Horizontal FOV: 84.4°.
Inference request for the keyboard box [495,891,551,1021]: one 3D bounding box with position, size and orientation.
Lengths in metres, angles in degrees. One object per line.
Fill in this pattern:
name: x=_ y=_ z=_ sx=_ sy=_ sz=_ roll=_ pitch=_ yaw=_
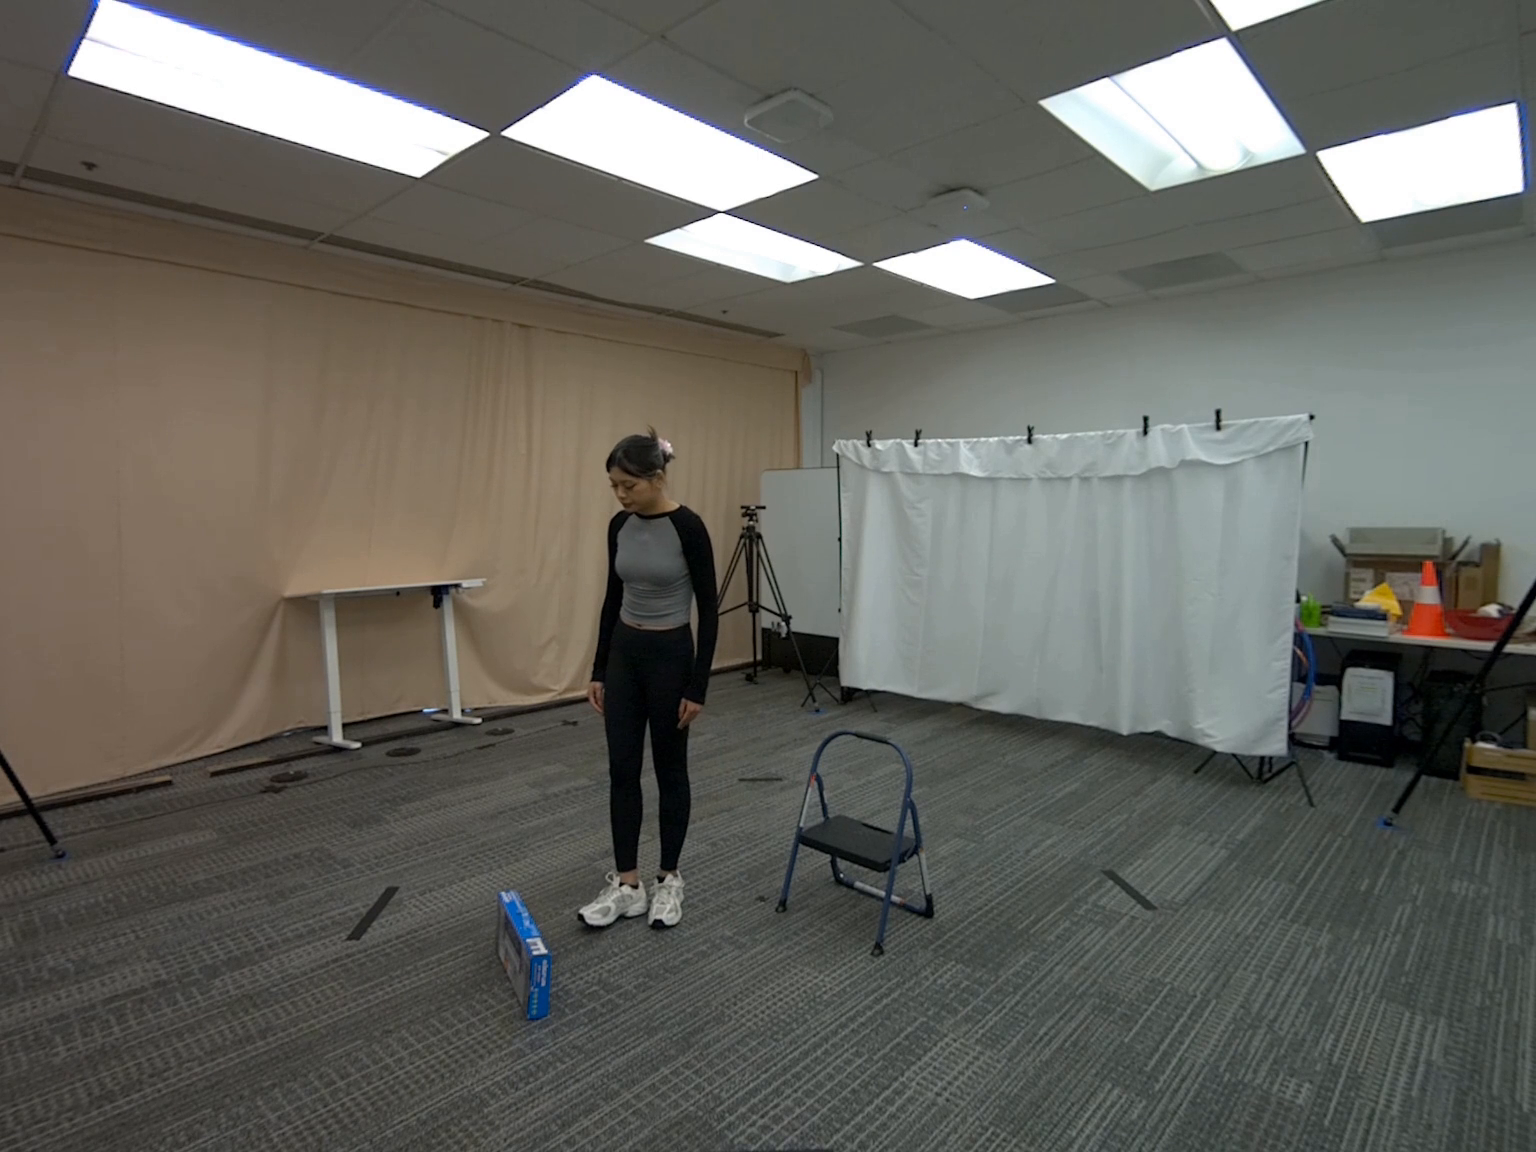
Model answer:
keyboard box: x=-0.728 y=1.106 z=2.477 sx=0.057 sy=0.176 sz=0.449 roll=3 pitch=2 yaw=-29
